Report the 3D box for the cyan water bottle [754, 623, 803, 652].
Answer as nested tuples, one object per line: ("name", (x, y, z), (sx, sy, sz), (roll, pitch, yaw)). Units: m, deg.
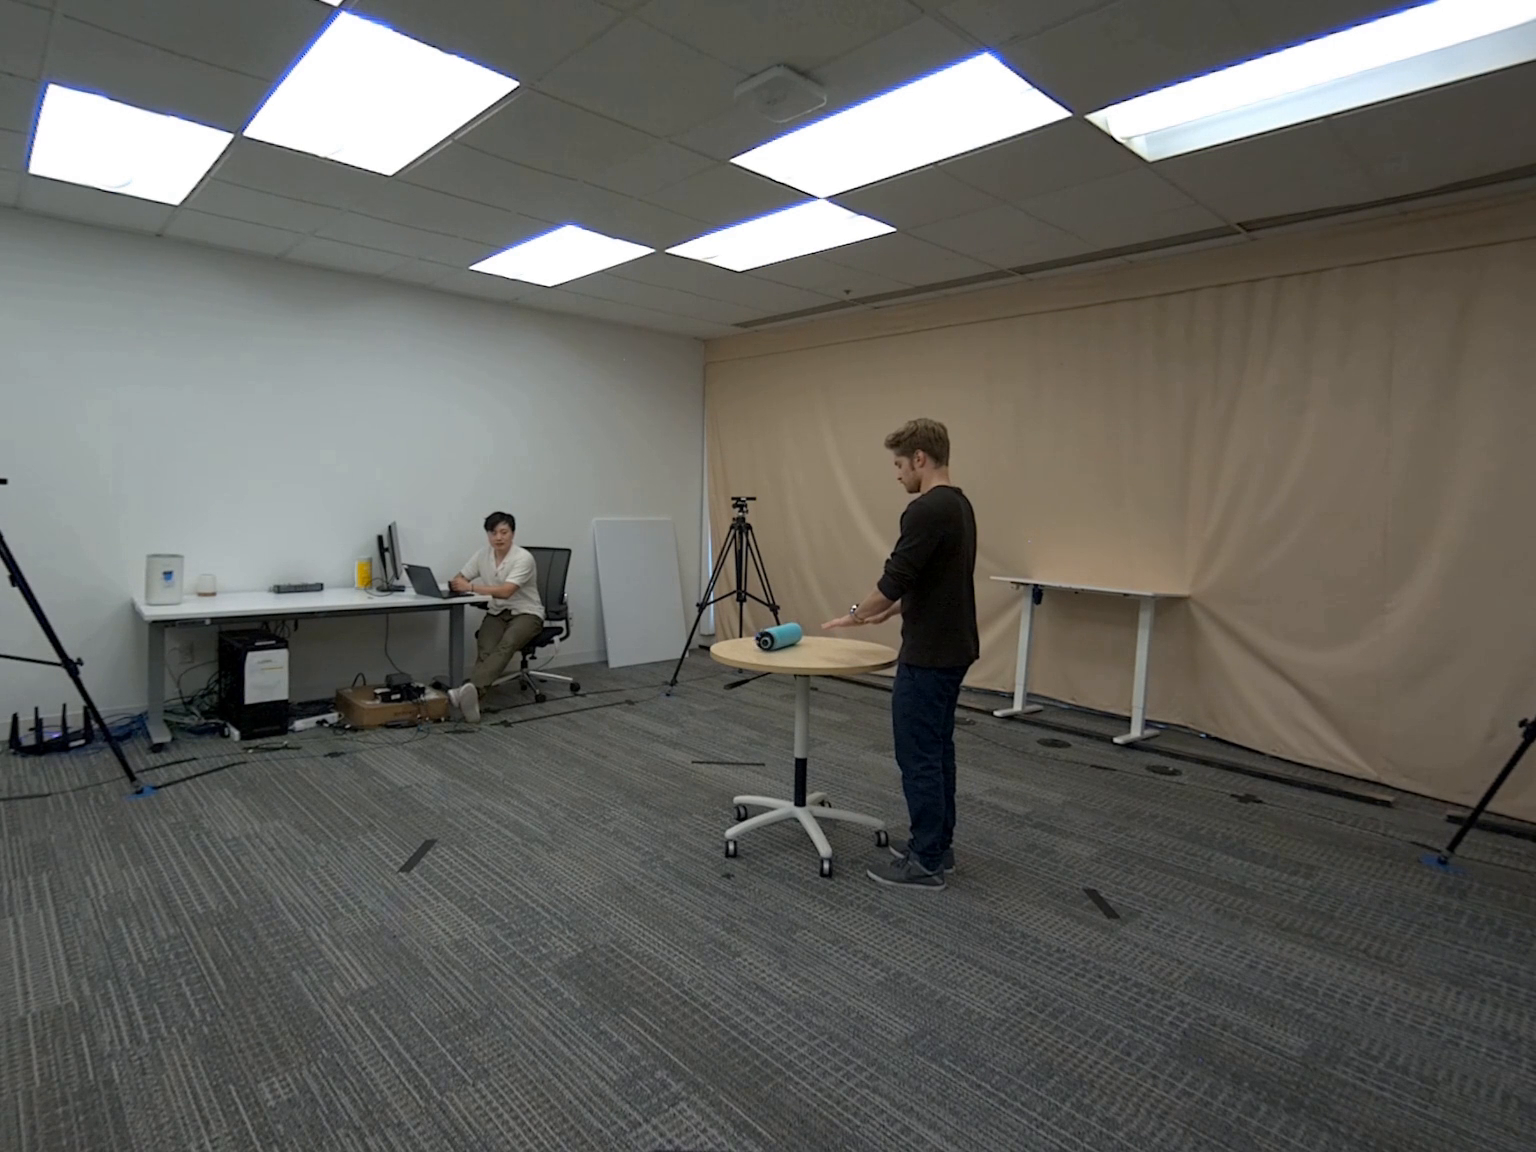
("cyan water bottle", (0.036, 0.252, 3.476), (0.094, 0.092, 0.278), (4, 6, 29))
